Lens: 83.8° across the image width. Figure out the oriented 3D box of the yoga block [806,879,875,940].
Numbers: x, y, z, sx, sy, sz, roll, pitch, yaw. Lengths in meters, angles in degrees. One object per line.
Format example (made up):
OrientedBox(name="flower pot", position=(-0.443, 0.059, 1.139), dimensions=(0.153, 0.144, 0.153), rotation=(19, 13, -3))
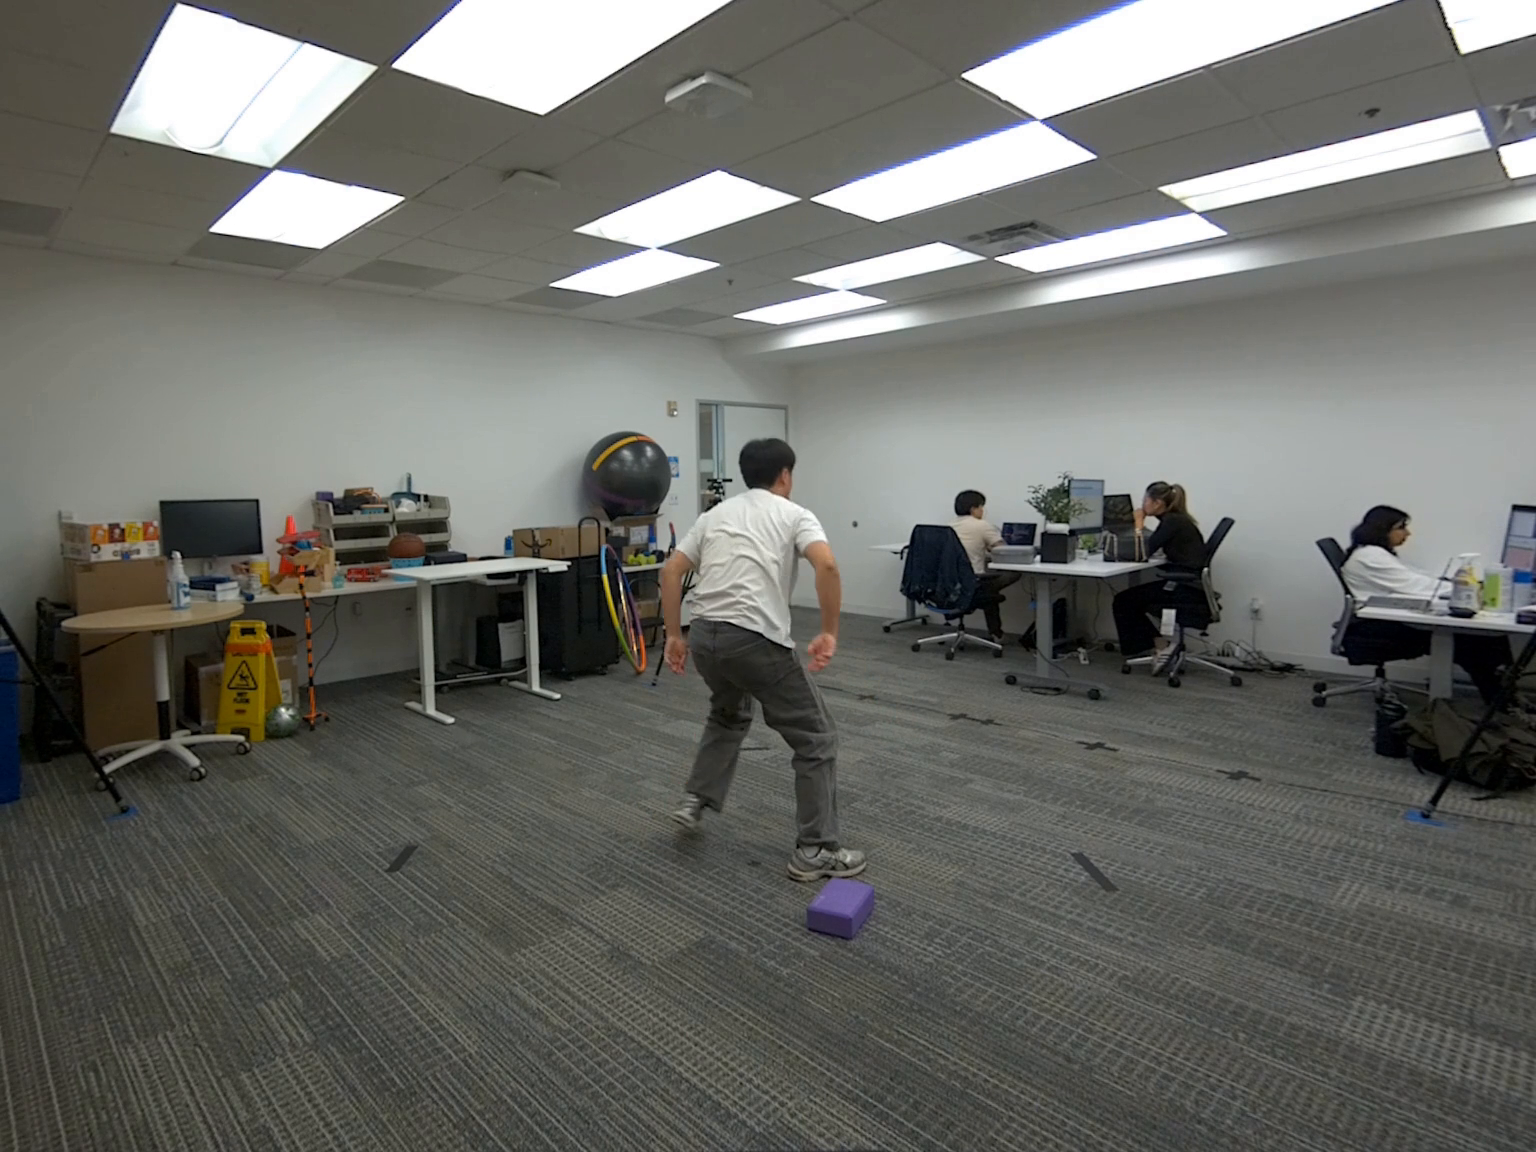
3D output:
OrientedBox(name="yoga block", position=(0.235, 1.053, 2.710), dimensions=(0.152, 0.076, 0.225), rotation=(0, 6, 26))
